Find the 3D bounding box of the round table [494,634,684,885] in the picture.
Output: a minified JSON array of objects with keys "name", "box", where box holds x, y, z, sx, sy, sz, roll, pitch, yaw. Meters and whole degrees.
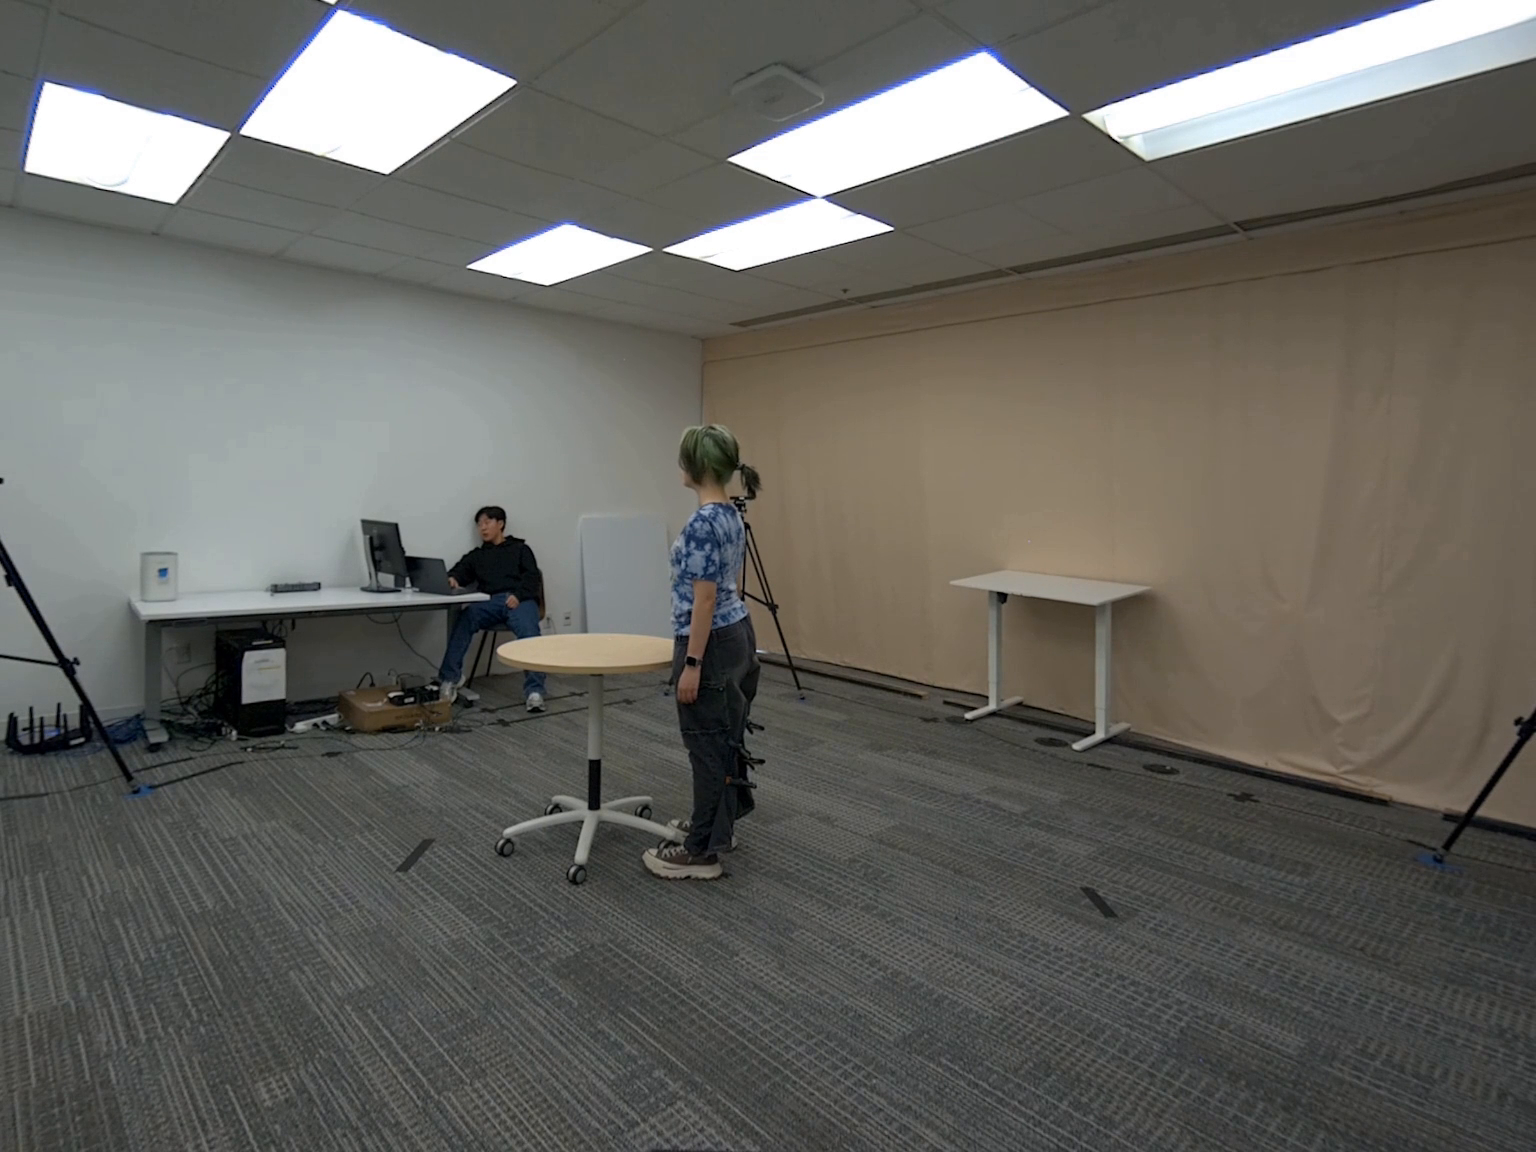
[{"name":"round table","box":[-0.680,0.674,3.351,0.784,0.784,0.788,1,4,-1]}]
